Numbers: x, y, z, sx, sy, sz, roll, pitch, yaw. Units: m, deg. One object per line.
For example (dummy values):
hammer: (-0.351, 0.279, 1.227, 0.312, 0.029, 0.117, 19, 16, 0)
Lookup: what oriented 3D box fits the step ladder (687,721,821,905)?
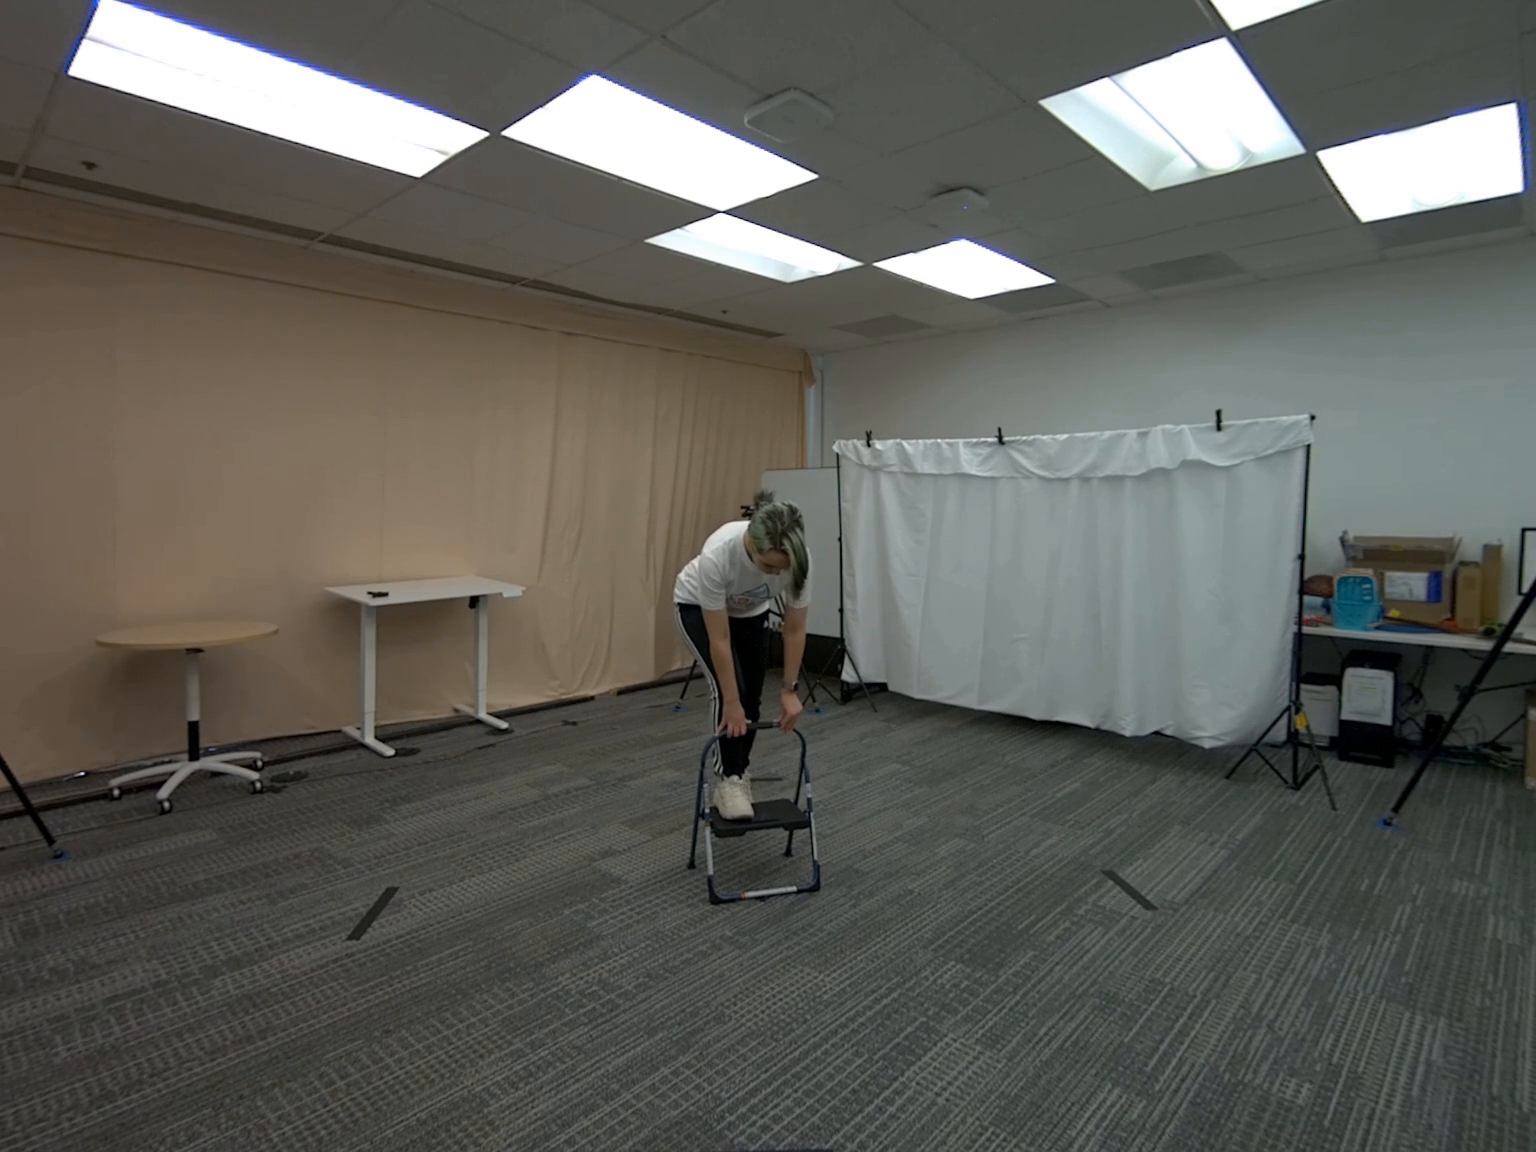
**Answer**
step ladder: (-0.055, 0.833, 3.135, 0.423, 0.605, 0.356, -2, 3, -17)
